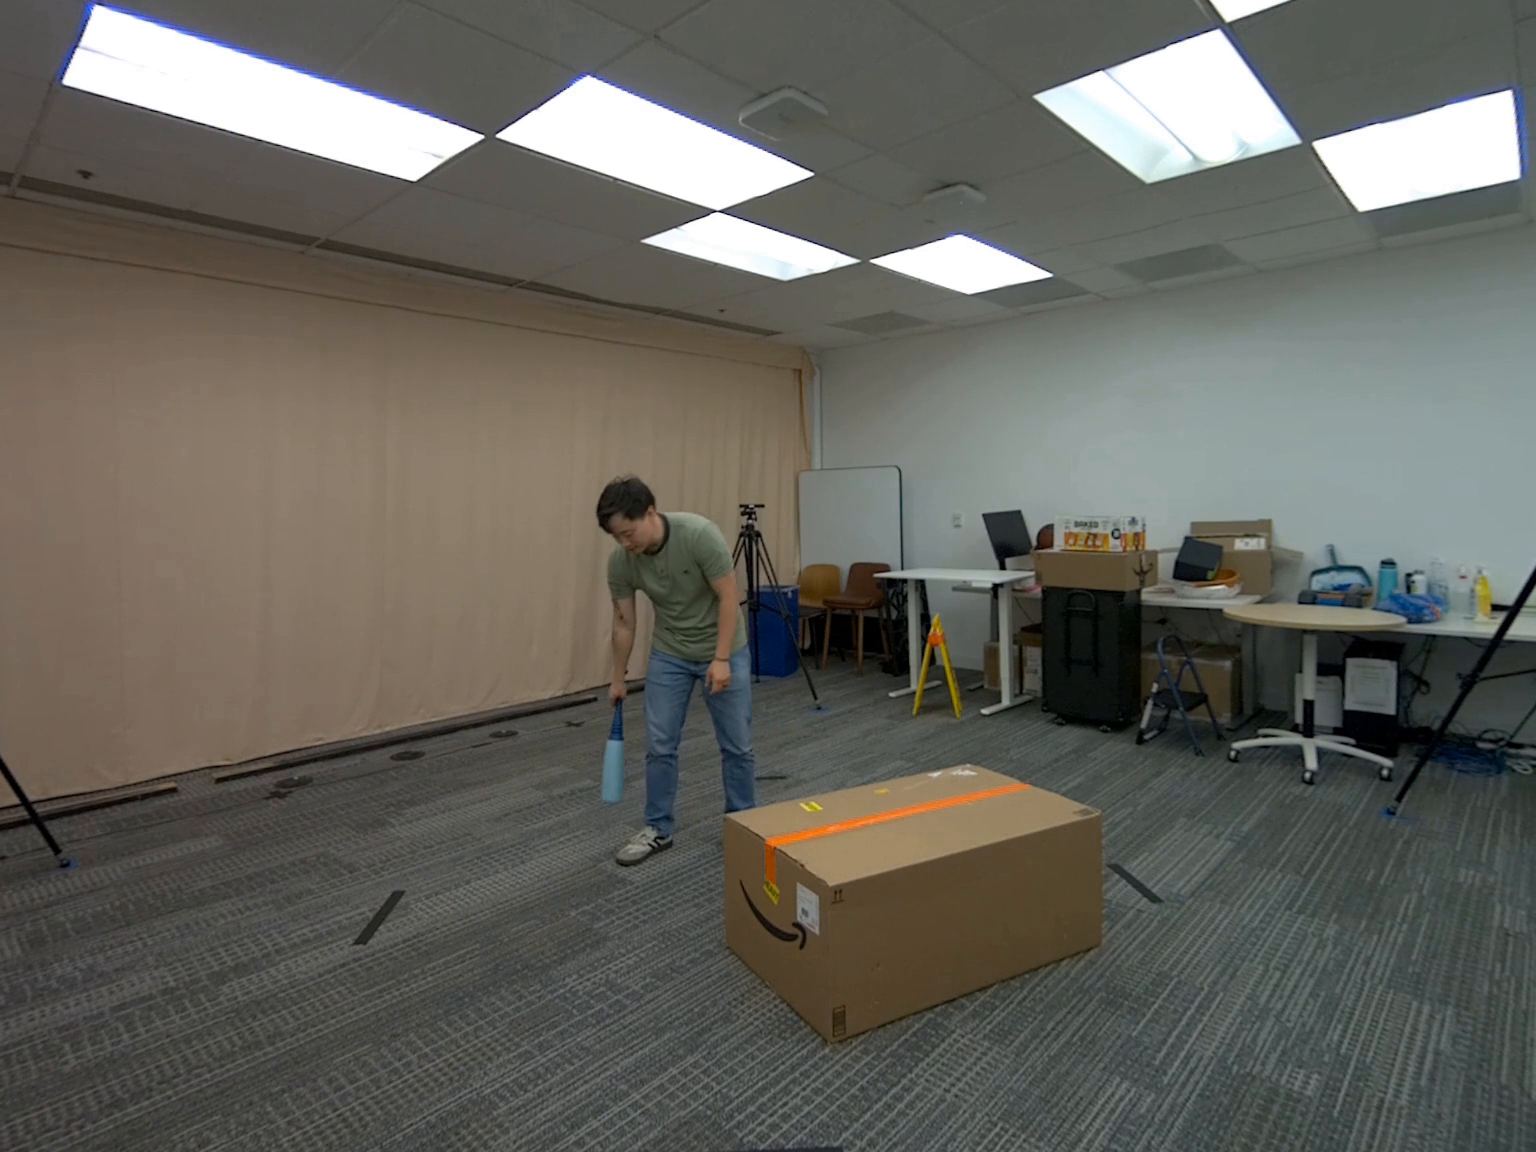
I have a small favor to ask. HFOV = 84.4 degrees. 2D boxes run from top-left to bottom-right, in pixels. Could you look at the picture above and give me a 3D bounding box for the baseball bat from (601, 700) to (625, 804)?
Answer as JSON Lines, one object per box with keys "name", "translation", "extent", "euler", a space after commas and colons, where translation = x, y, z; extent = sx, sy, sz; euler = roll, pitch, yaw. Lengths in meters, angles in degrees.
{"name": "baseball bat", "translation": [-0.626, 0.666, 3.456], "extent": [0.089, 0.546, 0.089], "euler": [3, -9, -1]}
